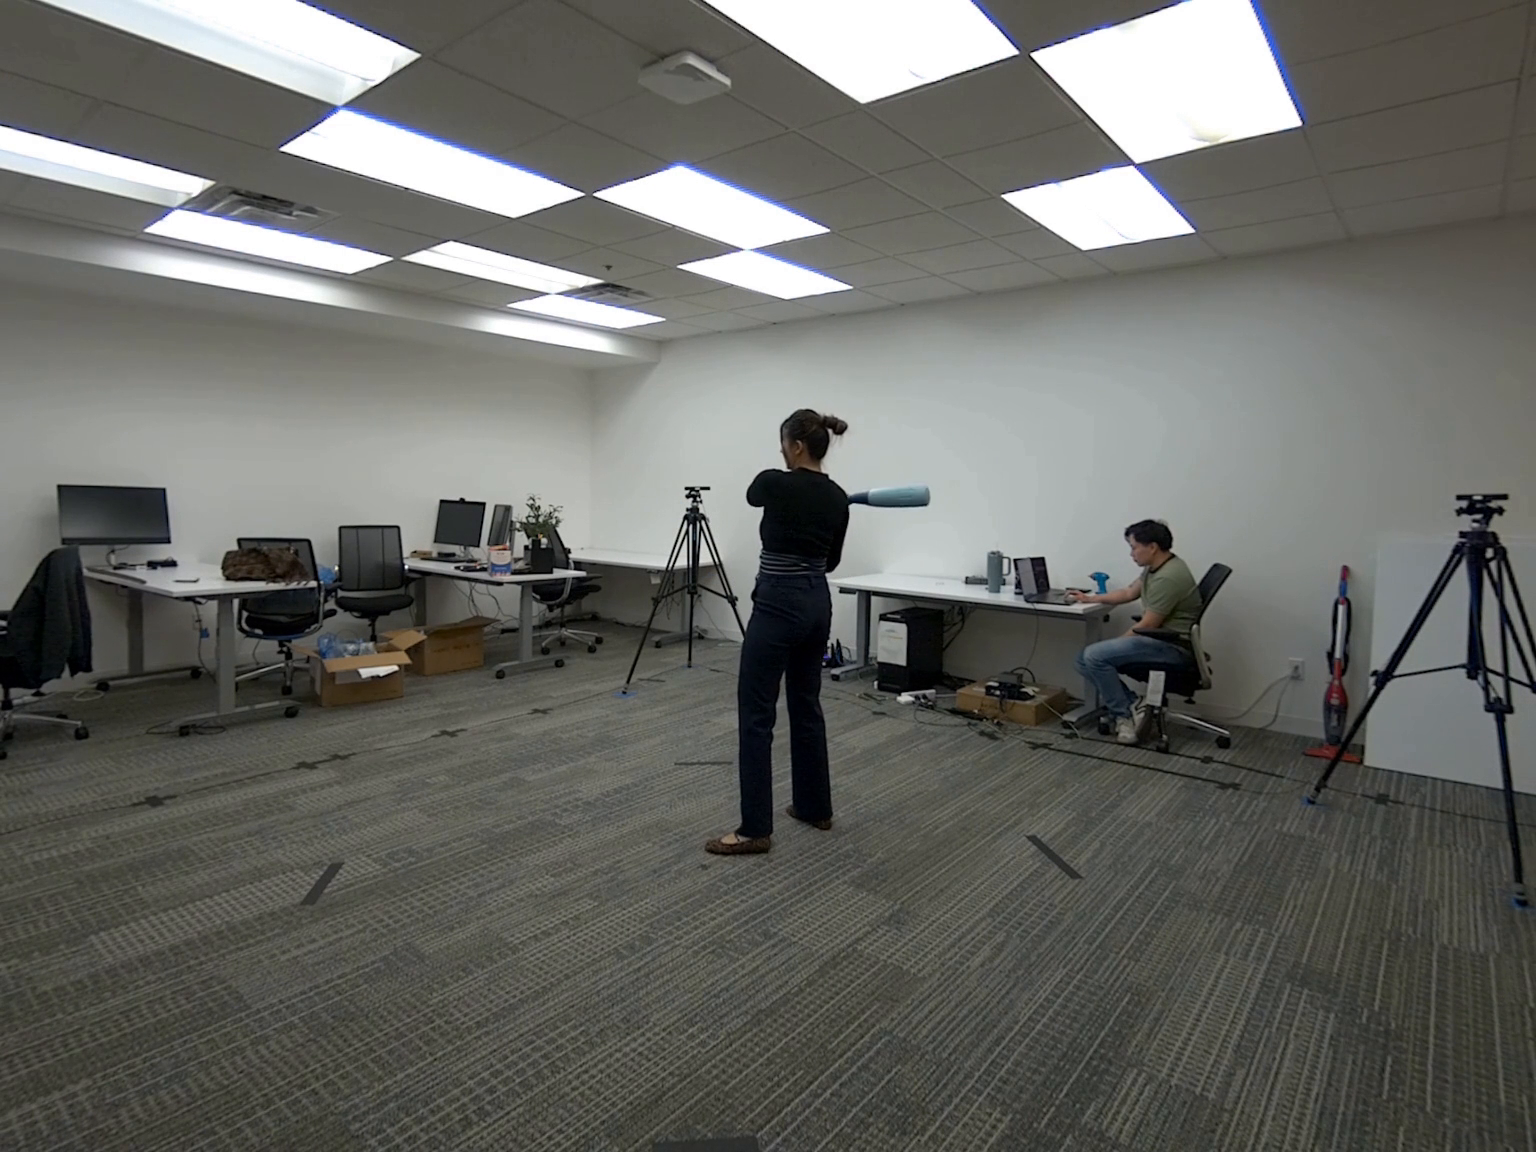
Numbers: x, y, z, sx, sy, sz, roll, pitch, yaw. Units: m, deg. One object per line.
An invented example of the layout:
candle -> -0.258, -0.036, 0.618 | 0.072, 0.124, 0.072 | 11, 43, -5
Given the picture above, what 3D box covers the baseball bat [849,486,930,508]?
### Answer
baseball bat -> 0.381, -0.337, 3.635 | 0.557, 0.089, 0.087 | 0, 4, 26
